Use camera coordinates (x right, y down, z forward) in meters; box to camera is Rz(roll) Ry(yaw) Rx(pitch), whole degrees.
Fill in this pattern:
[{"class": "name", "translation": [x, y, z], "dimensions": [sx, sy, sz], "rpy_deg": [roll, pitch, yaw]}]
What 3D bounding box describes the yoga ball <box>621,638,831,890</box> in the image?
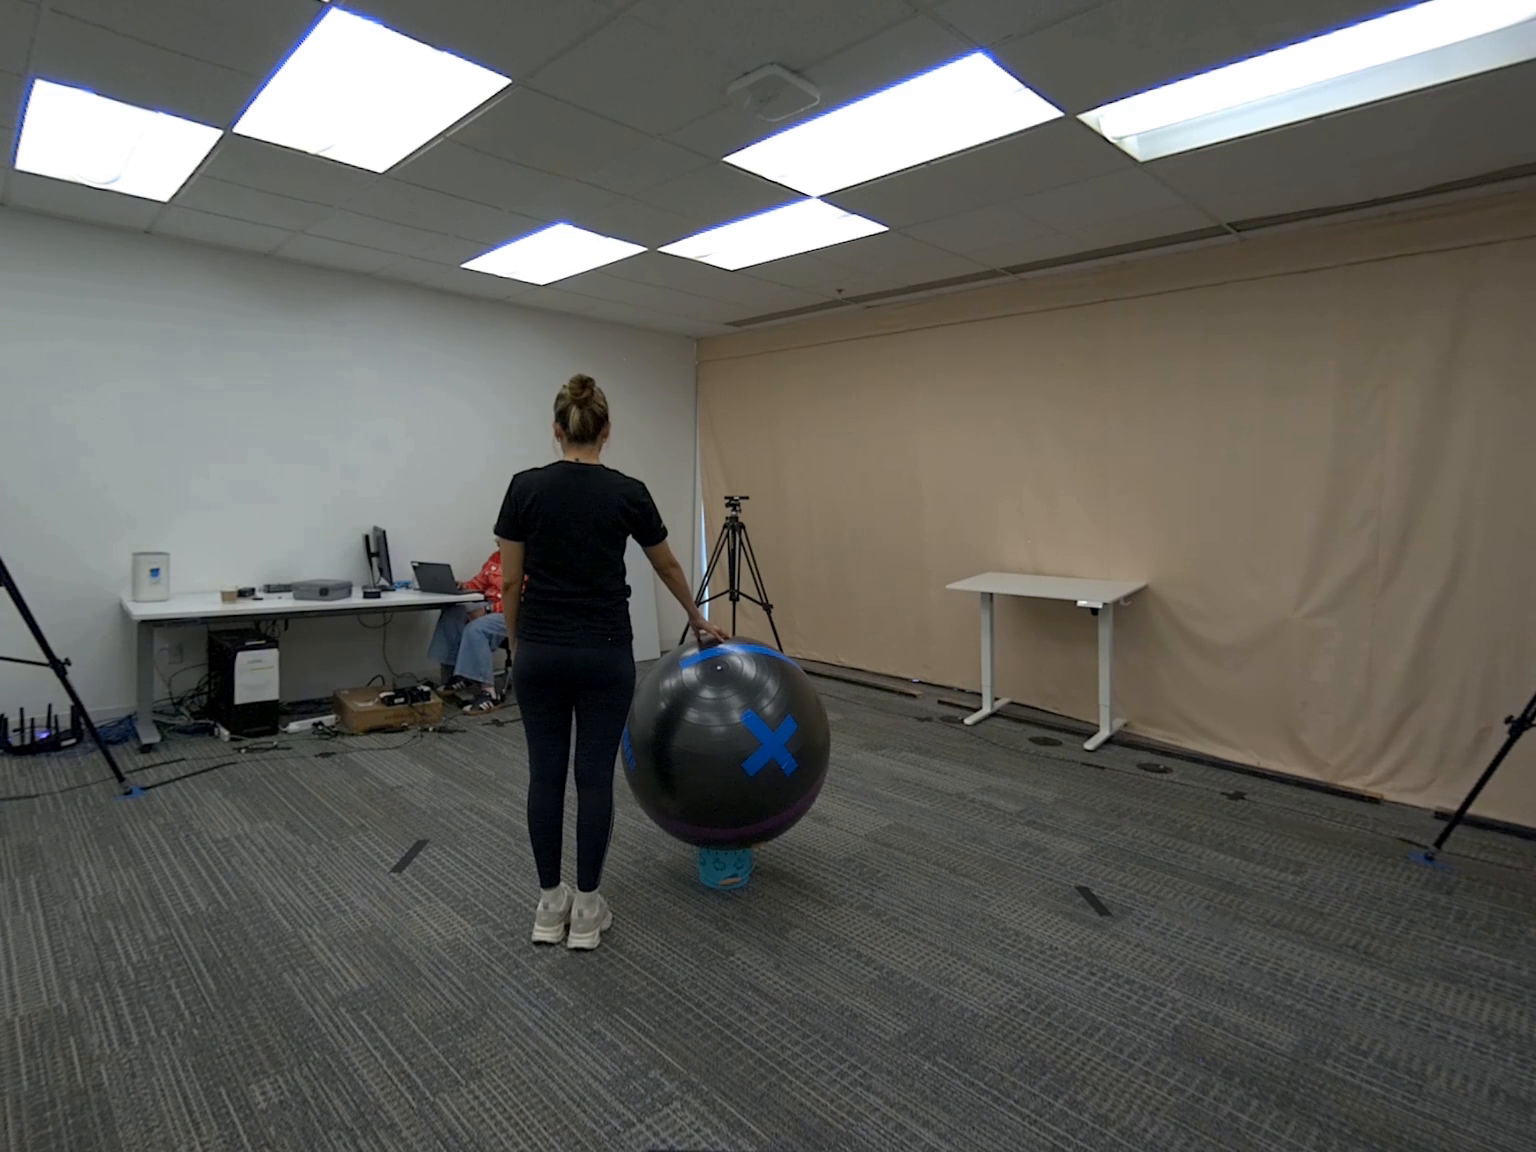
[{"class": "yoga ball", "translation": [-0.156, 0.605, 3.049], "dimensions": [0.757, 0.756, 0.761], "rpy_deg": [1, 4, -1]}]
